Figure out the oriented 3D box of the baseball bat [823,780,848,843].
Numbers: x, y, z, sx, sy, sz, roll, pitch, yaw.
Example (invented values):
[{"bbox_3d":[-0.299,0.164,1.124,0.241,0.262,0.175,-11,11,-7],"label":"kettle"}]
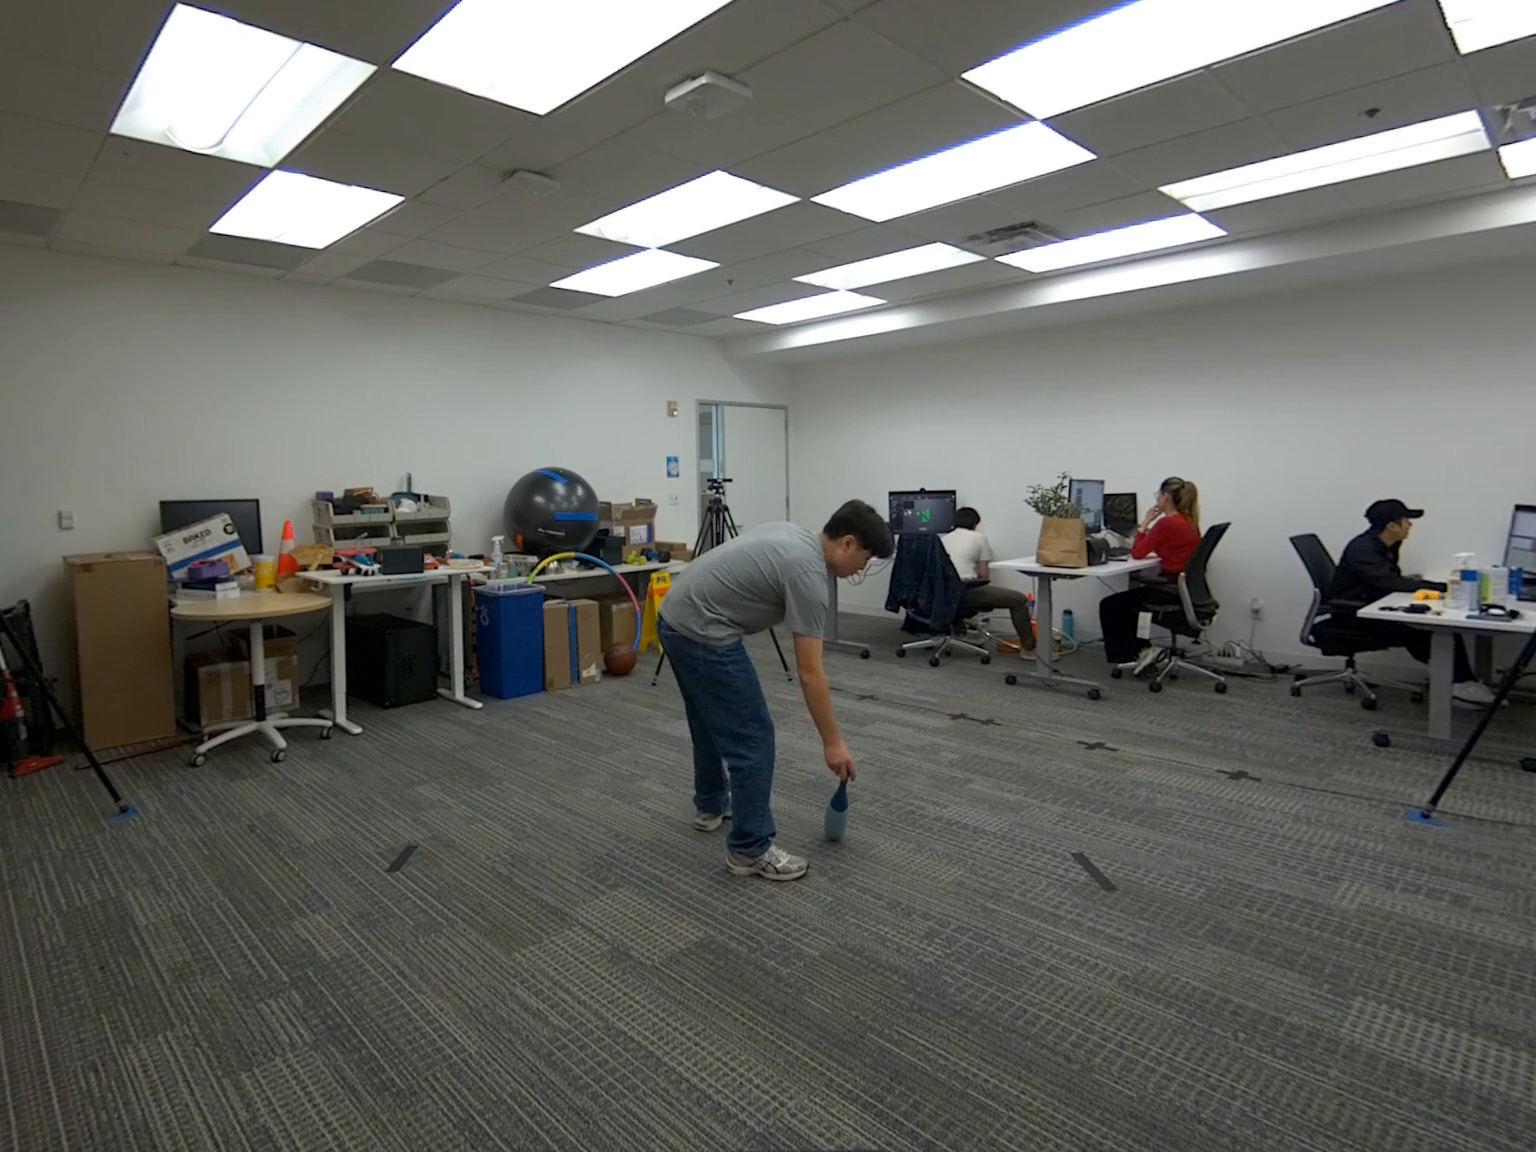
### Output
[{"bbox_3d":[0.258,0.825,3.133,0.089,0.091,0.528,-1,-41,0],"label":"baseball bat"}]
